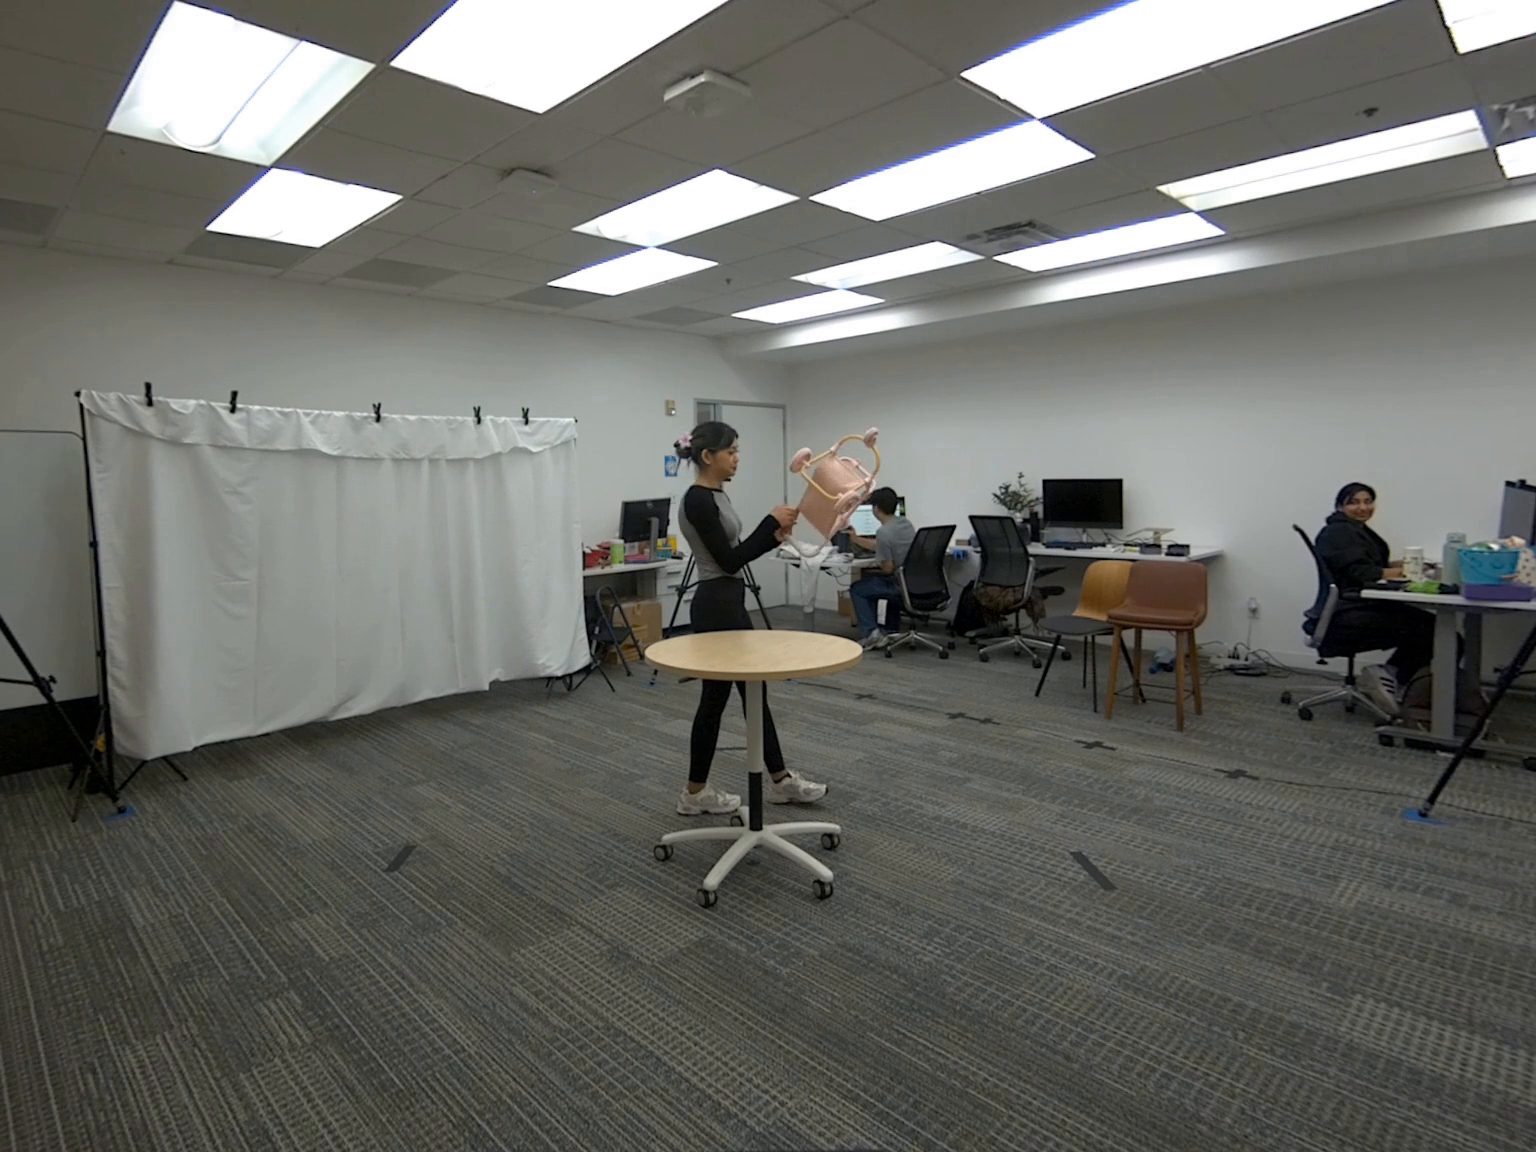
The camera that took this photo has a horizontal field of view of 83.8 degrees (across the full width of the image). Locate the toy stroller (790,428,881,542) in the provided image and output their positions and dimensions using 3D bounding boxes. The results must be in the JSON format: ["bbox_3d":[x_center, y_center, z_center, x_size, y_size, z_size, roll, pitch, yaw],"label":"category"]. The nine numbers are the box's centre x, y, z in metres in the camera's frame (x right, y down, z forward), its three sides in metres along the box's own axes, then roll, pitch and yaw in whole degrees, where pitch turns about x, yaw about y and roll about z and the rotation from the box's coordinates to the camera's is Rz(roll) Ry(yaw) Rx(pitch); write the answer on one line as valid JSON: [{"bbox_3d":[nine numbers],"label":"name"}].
[{"bbox_3d":[0.268,-0.339,3.365,0.340,0.288,0.524,-40,-19,-26],"label":"toy stroller"}]
